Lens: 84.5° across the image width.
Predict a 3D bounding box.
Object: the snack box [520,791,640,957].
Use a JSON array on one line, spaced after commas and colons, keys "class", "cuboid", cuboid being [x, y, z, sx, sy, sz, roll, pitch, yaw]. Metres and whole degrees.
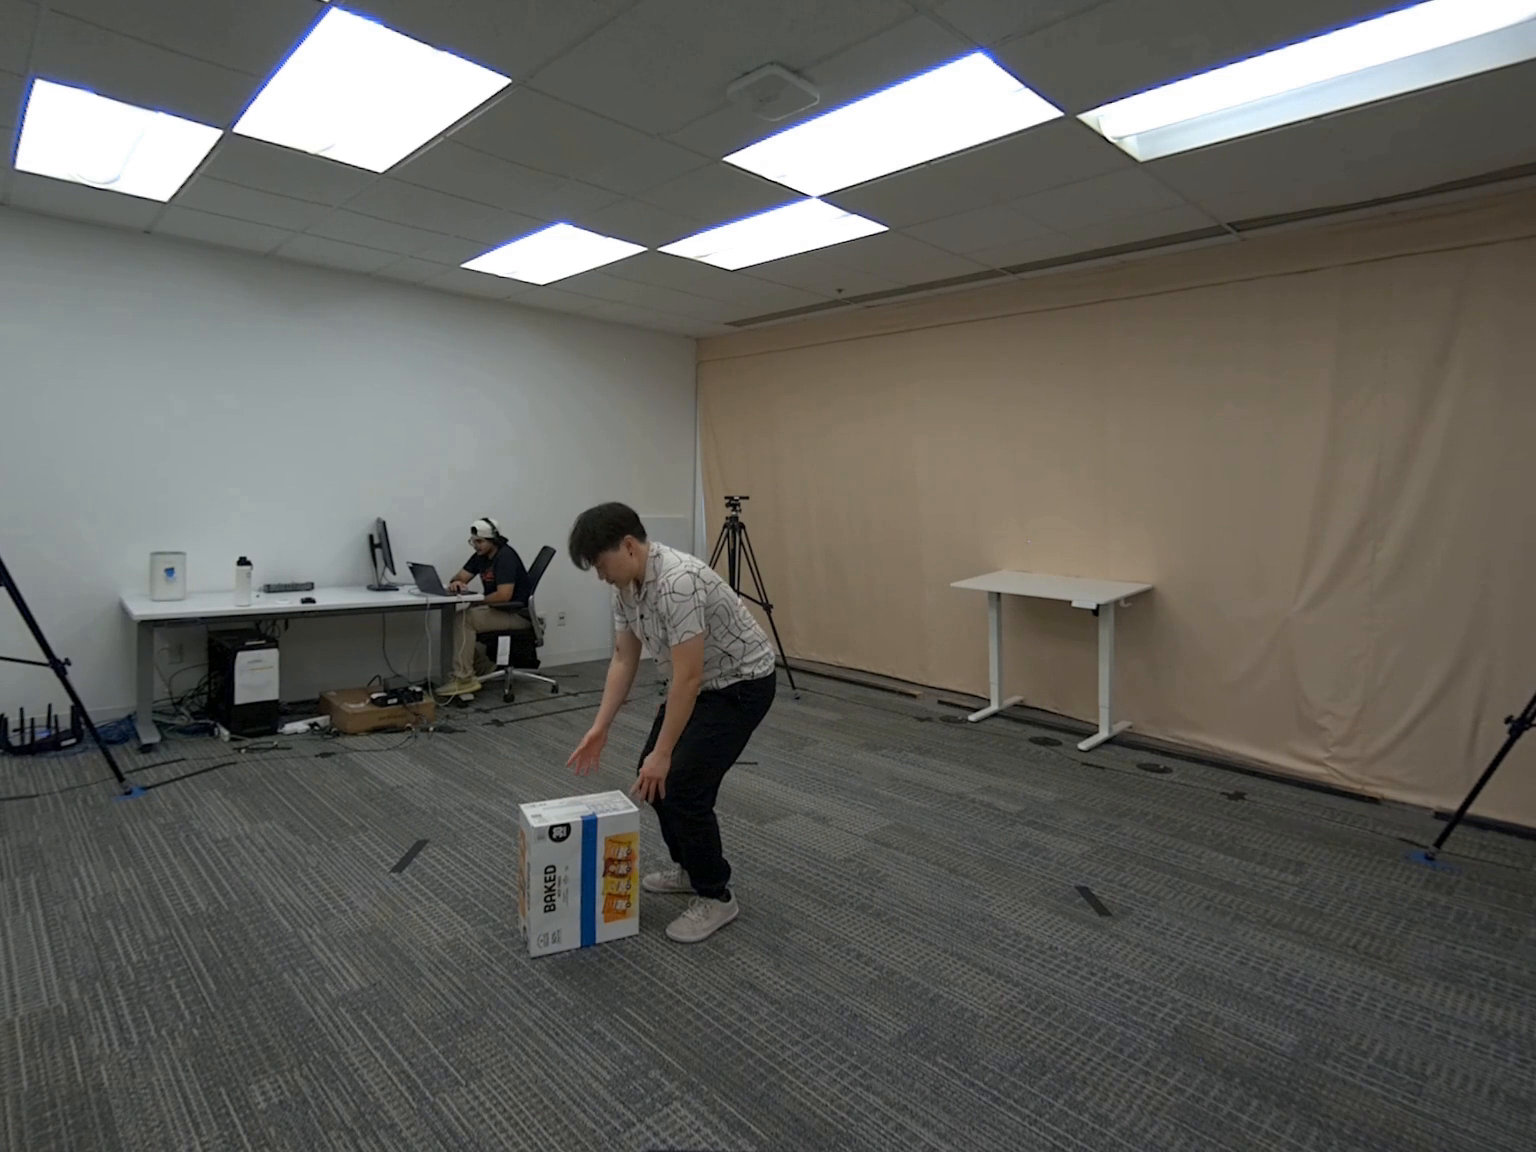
[{"class": "snack box", "cuboid": [-0.607, 0.933, 2.661, 0.334, 0.404, 0.210, -1, 4, -27]}]
